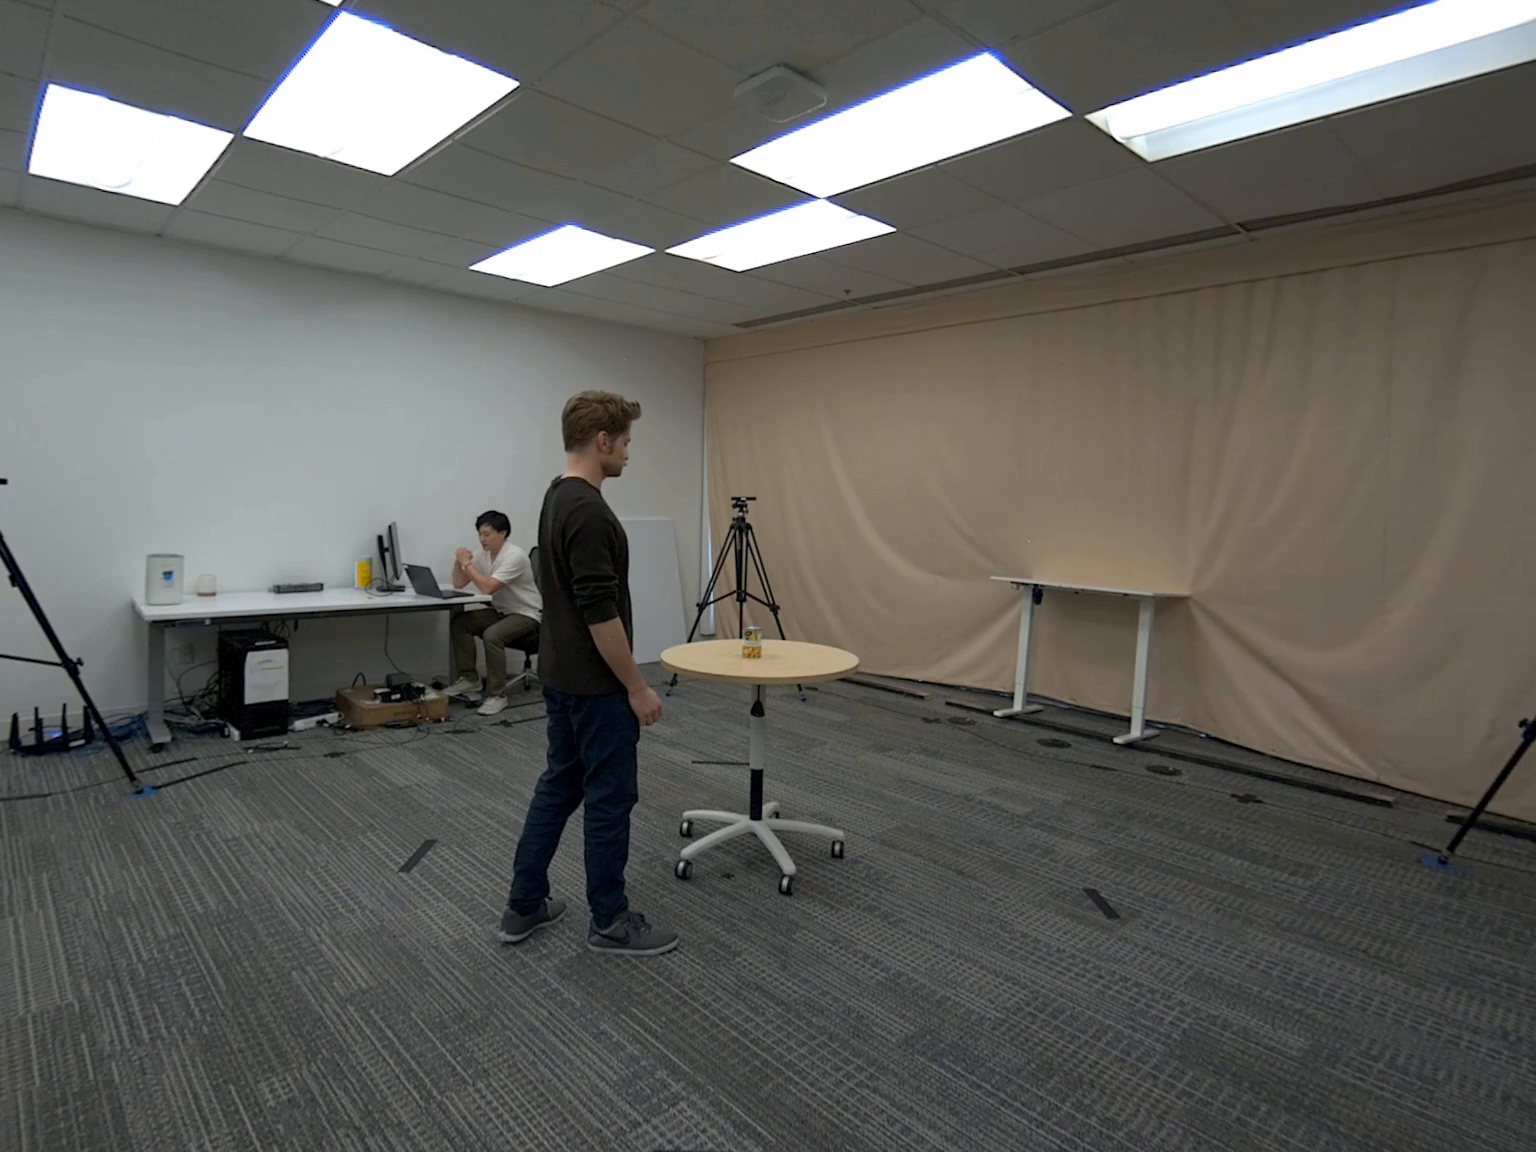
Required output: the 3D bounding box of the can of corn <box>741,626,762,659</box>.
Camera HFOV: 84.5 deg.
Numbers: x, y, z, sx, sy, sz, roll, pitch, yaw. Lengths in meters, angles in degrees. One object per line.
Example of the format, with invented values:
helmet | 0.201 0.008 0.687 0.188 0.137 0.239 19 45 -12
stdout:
can of corn | -0.068 0.255 3.241 0.074 0.110 0.074 3 5 -2
